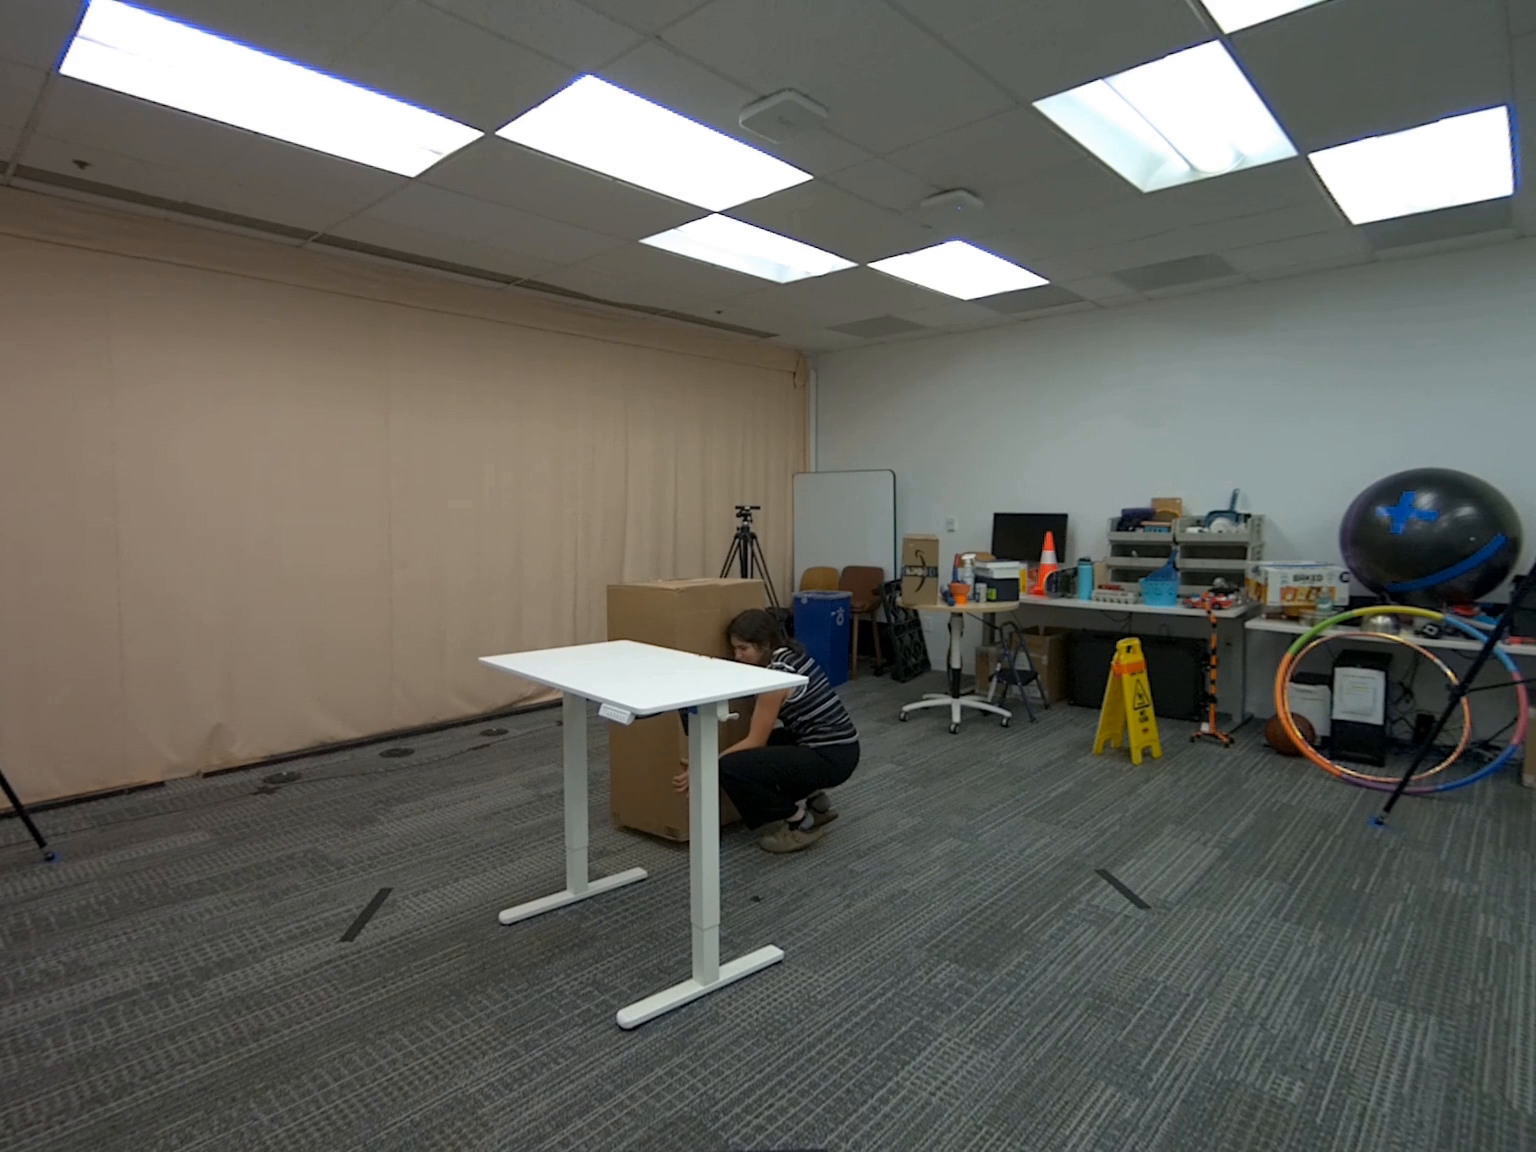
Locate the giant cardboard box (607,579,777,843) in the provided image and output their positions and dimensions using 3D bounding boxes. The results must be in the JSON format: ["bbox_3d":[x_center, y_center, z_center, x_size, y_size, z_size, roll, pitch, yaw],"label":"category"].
[{"bbox_3d":[-0.348,0.529,3.707,0.440,1.024,0.560,1,2,39],"label":"giant cardboard box"}]
